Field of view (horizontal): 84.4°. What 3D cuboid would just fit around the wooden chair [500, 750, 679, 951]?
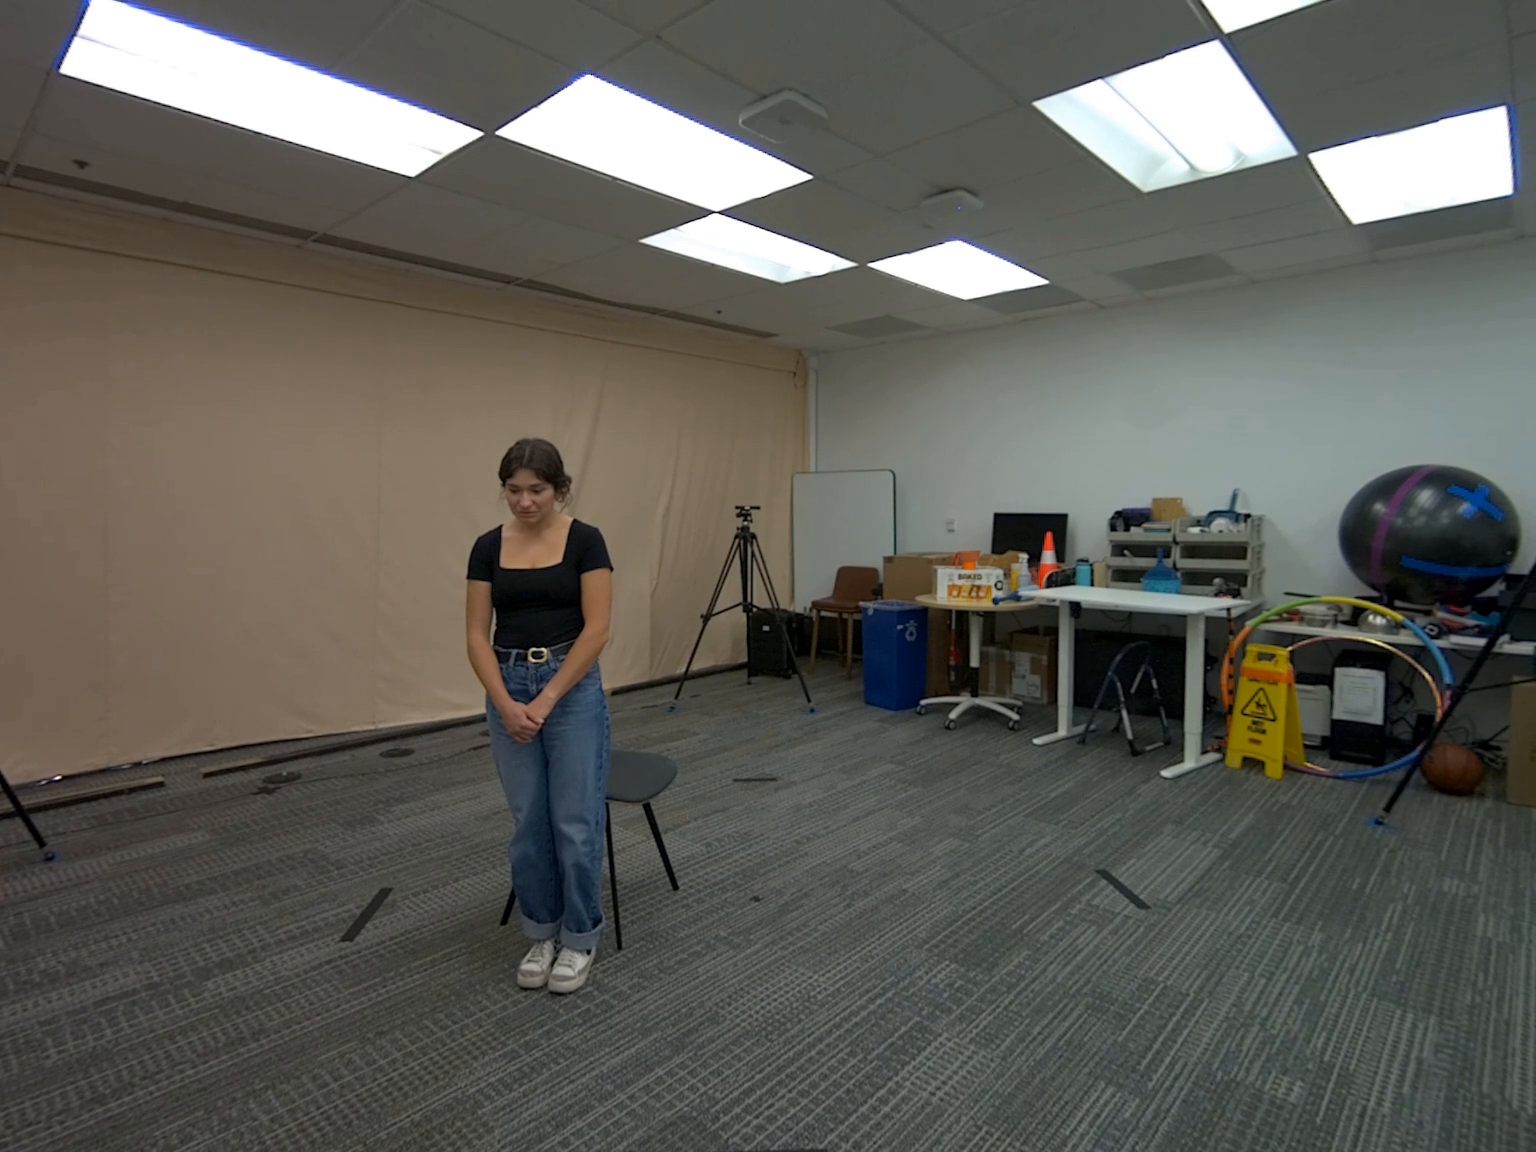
[{"bbox_3d":[-0.602,0.728,2.904,0.534,0.876,0.469,-4,2,20],"label":"wooden chair"}]
